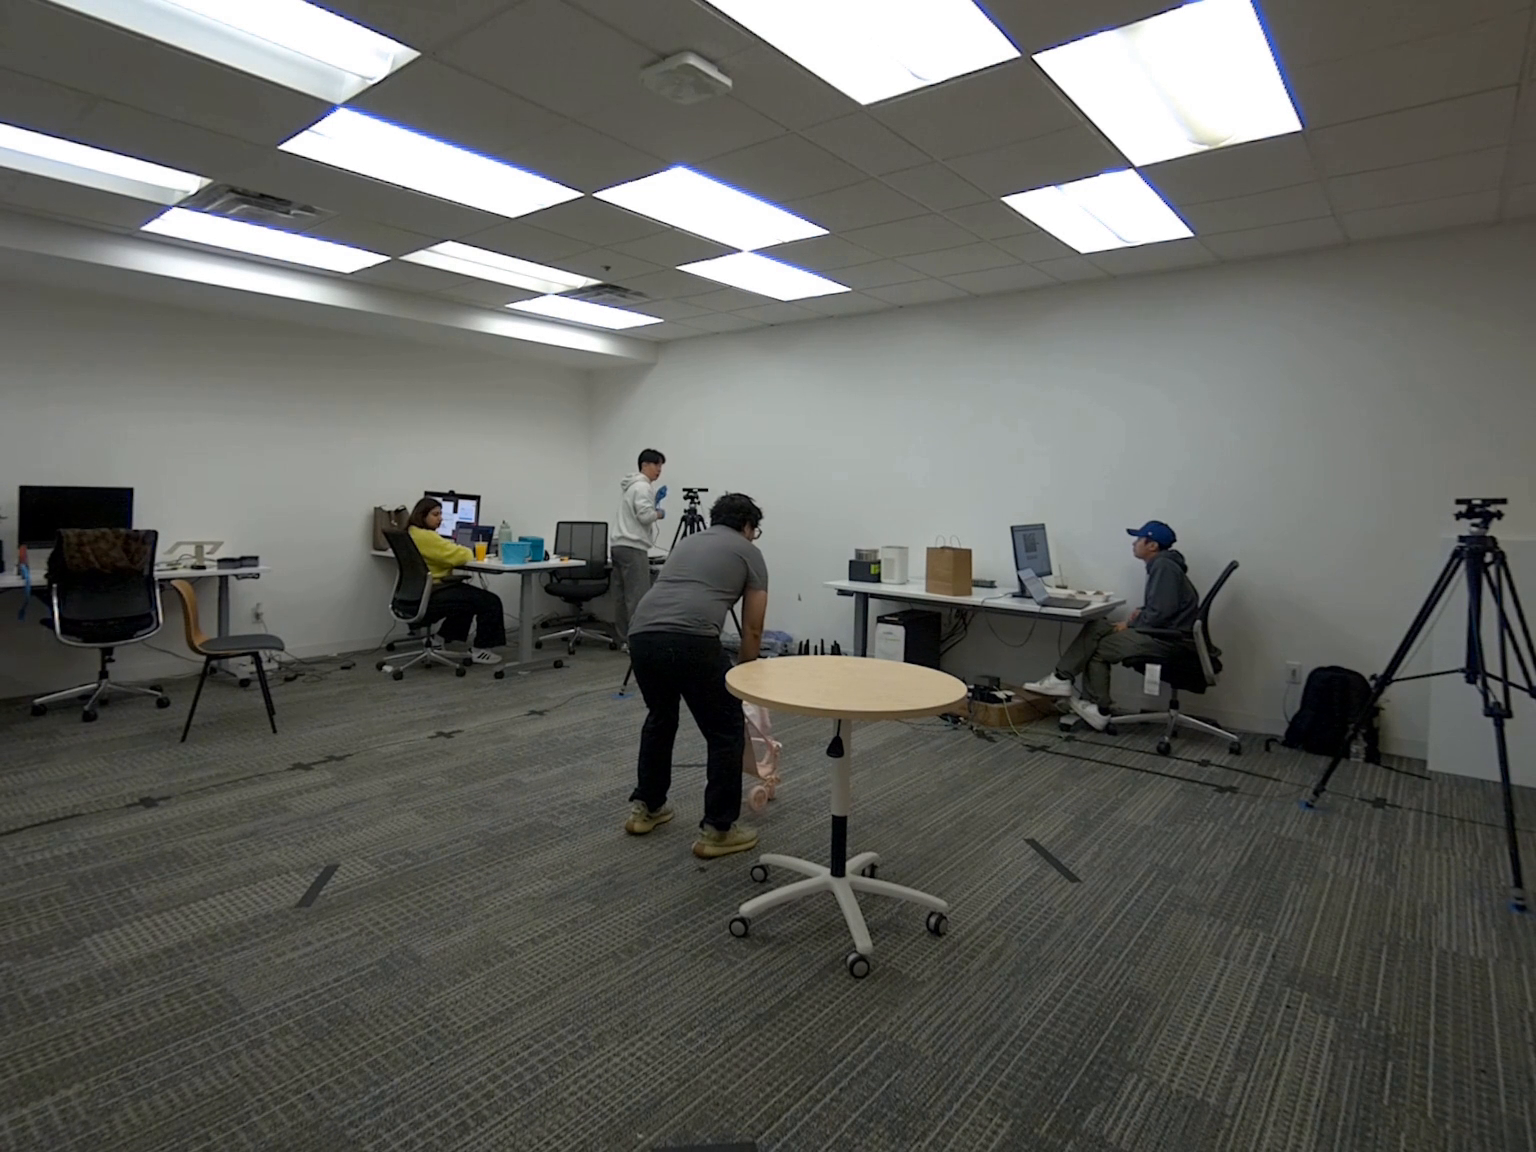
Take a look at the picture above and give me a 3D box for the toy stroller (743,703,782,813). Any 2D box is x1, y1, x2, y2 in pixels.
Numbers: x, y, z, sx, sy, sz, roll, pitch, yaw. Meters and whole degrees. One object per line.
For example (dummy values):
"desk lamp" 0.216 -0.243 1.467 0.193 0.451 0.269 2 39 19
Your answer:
"toy stroller" -0.096 0.762 3.725 0.290 0.532 0.332 -1 7 44
